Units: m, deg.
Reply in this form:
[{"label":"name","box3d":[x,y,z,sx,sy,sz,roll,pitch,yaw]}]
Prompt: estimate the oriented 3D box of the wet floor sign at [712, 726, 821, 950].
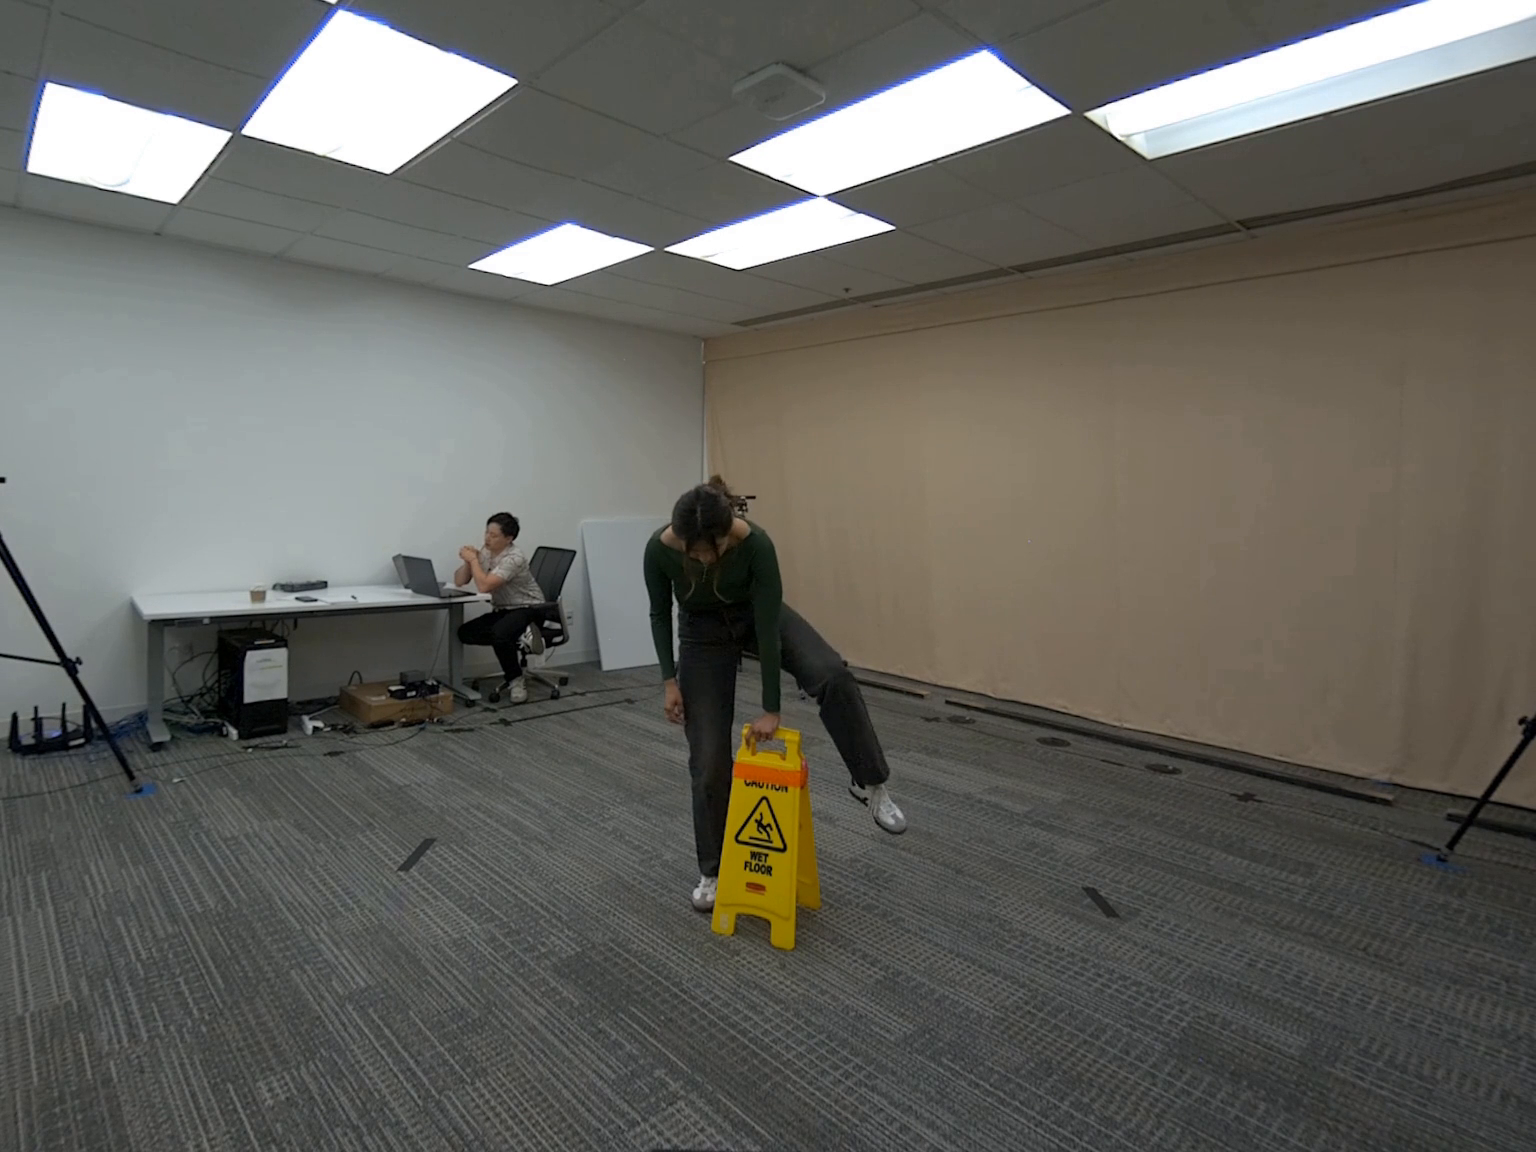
[{"label":"wet floor sign","box3d":[0.004,0.817,2.760,0.287,0.644,0.285,3,3,21]}]
